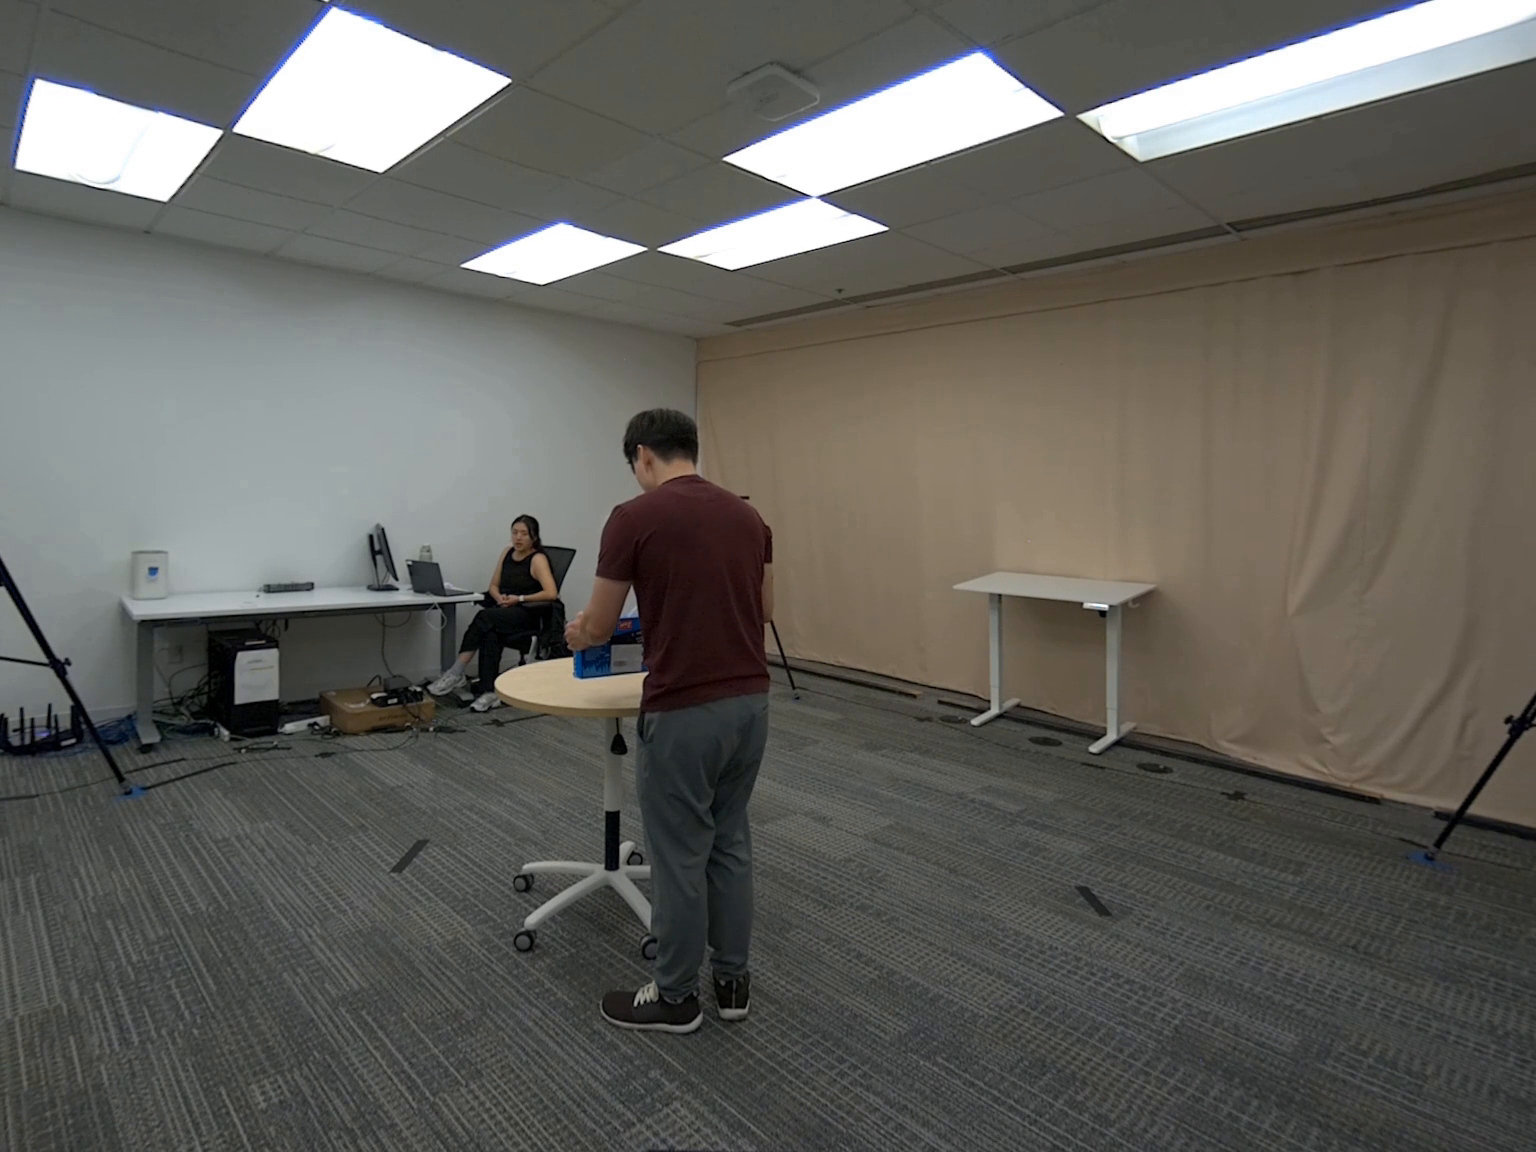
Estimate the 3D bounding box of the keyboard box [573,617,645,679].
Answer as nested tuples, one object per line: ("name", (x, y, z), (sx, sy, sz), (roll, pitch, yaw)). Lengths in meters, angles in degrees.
("keyboard box", (-0.385, 0.213, 2.561), (0.427, 0.176, 0.060), (-2, 2, -34))
